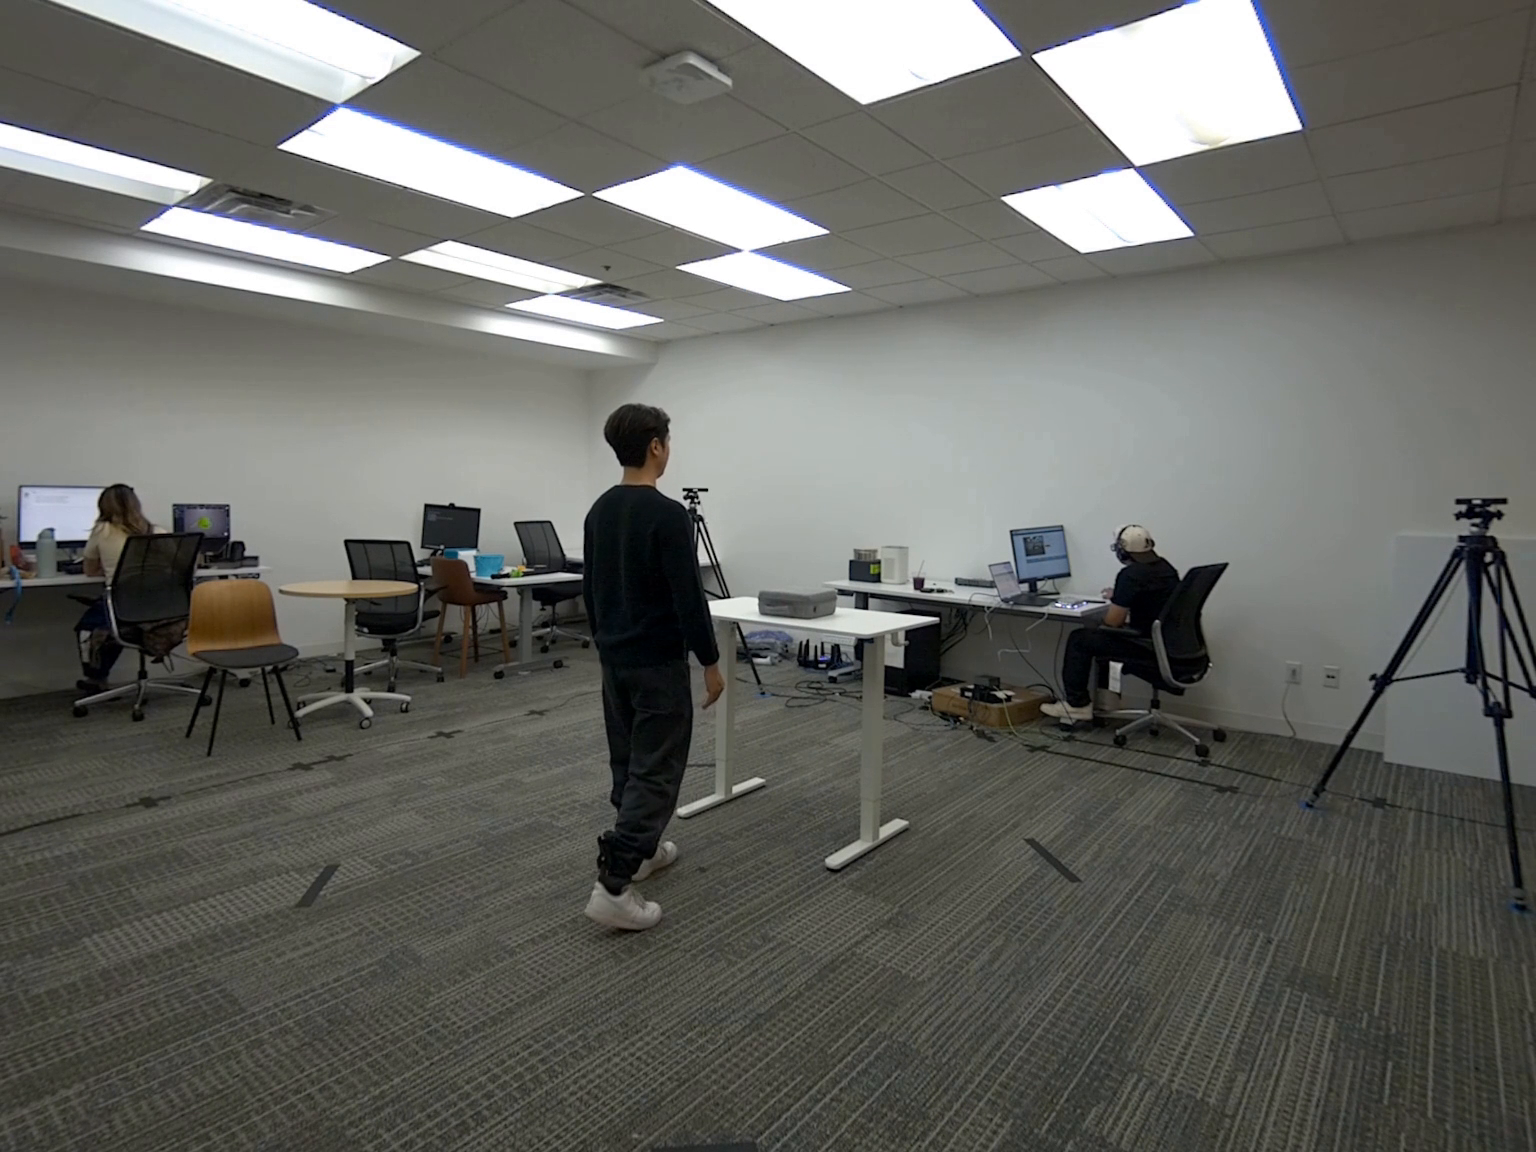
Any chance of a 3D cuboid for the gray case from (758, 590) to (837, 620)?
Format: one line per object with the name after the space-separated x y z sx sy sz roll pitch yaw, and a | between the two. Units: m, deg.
0.114 0.101 3.503 0.265 0.104 0.254 5 6 32 | gray case
